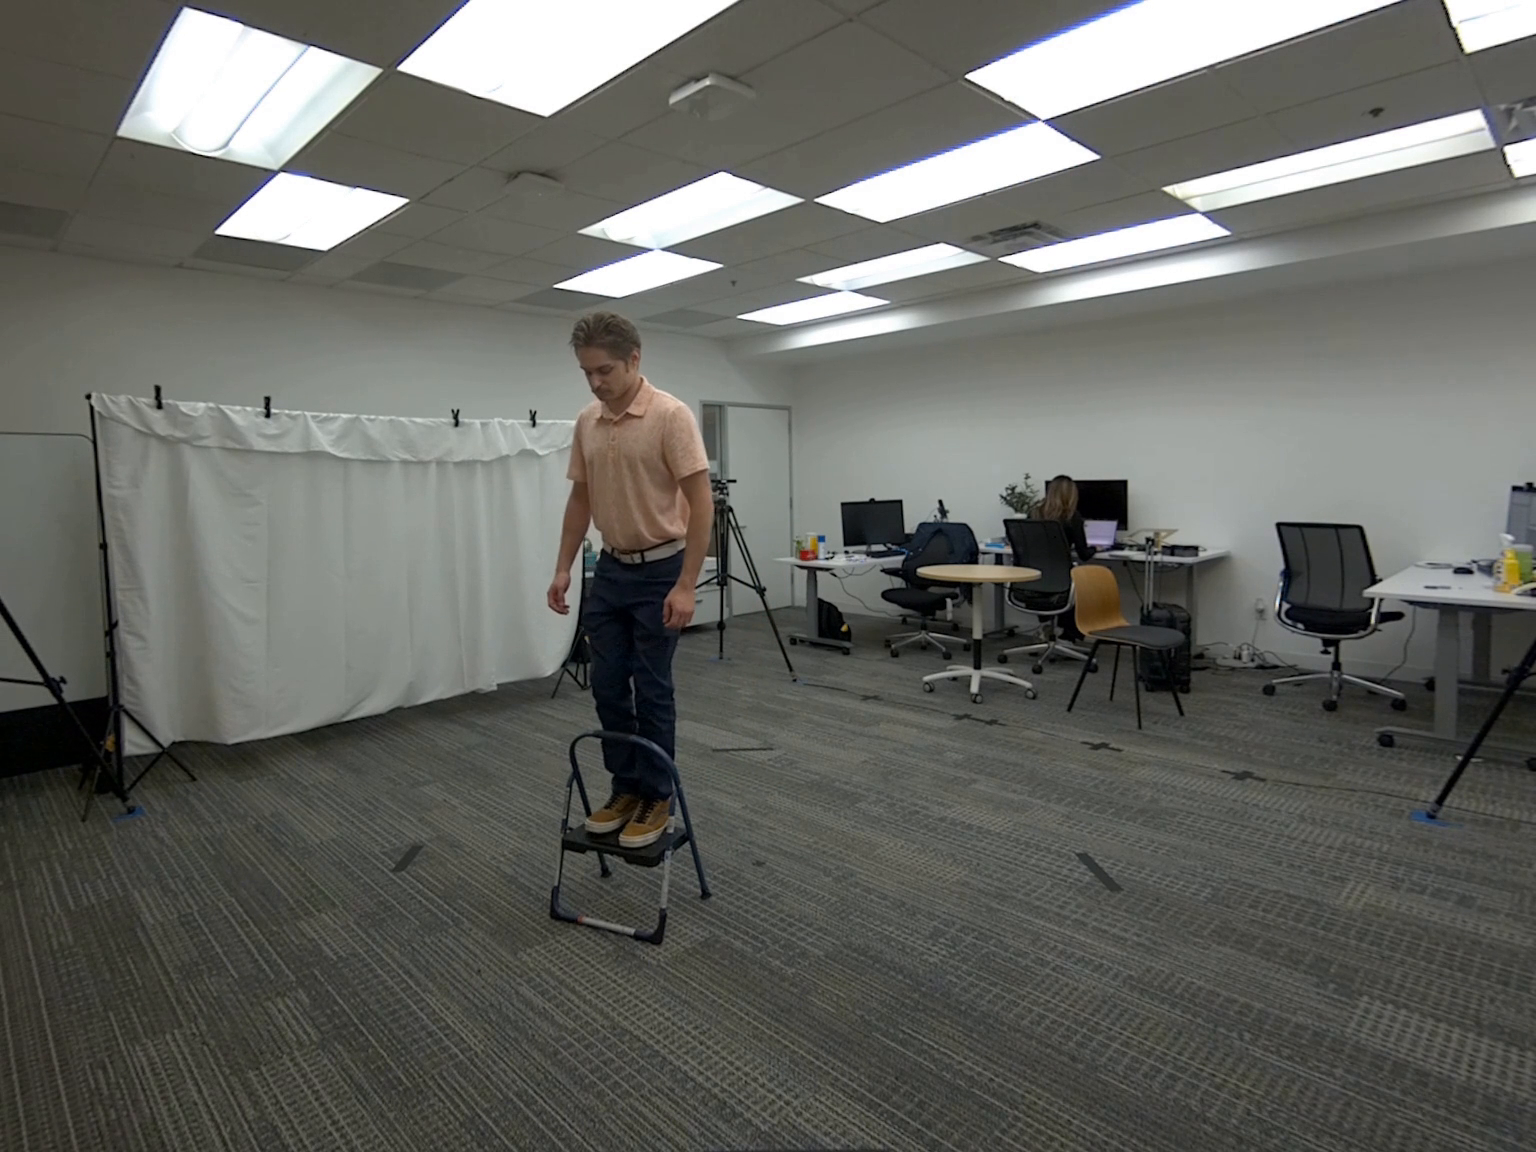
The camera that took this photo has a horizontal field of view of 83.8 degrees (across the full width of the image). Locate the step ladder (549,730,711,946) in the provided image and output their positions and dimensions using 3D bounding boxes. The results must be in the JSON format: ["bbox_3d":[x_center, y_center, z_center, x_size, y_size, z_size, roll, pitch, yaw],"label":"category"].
[{"bbox_3d":[-0.456,0.791,2.793,0.440,0.603,0.343,1,5,24],"label":"step ladder"}]
